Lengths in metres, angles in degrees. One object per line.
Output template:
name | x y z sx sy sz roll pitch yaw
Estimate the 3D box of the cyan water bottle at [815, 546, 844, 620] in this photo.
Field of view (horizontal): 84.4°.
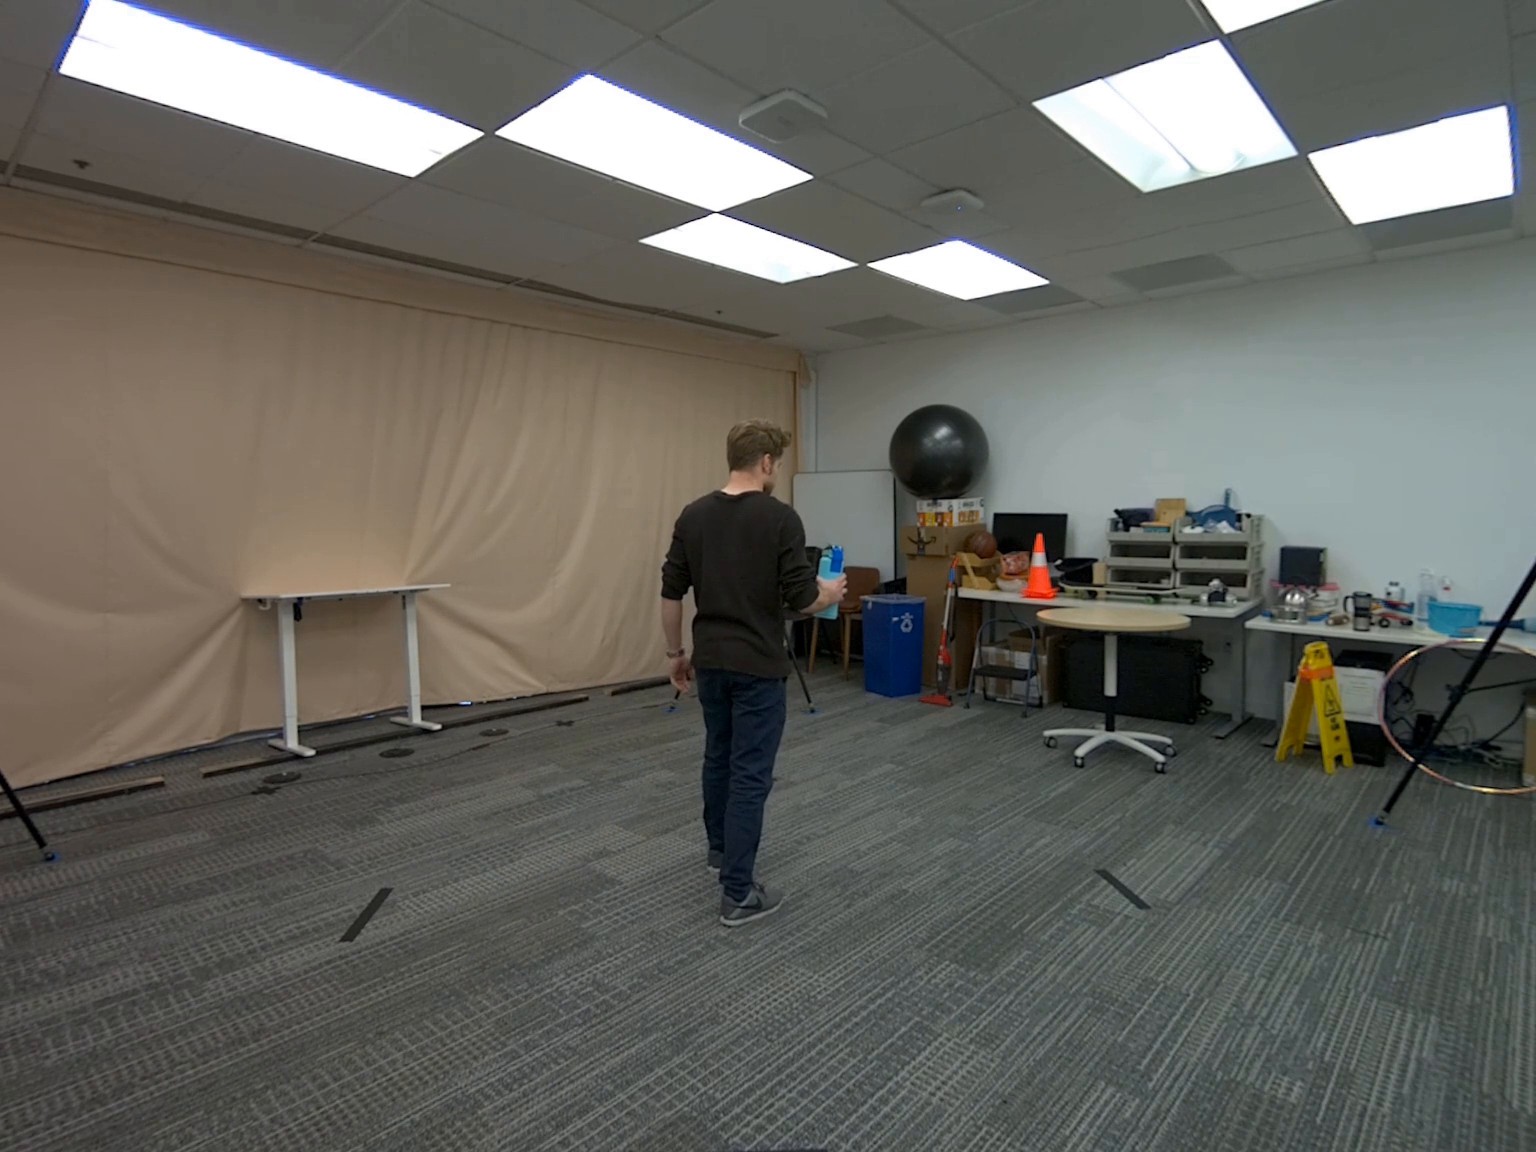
cyan water bottle | 0.241 0.016 3.187 0.092 0.283 0.092 7 0 -2
